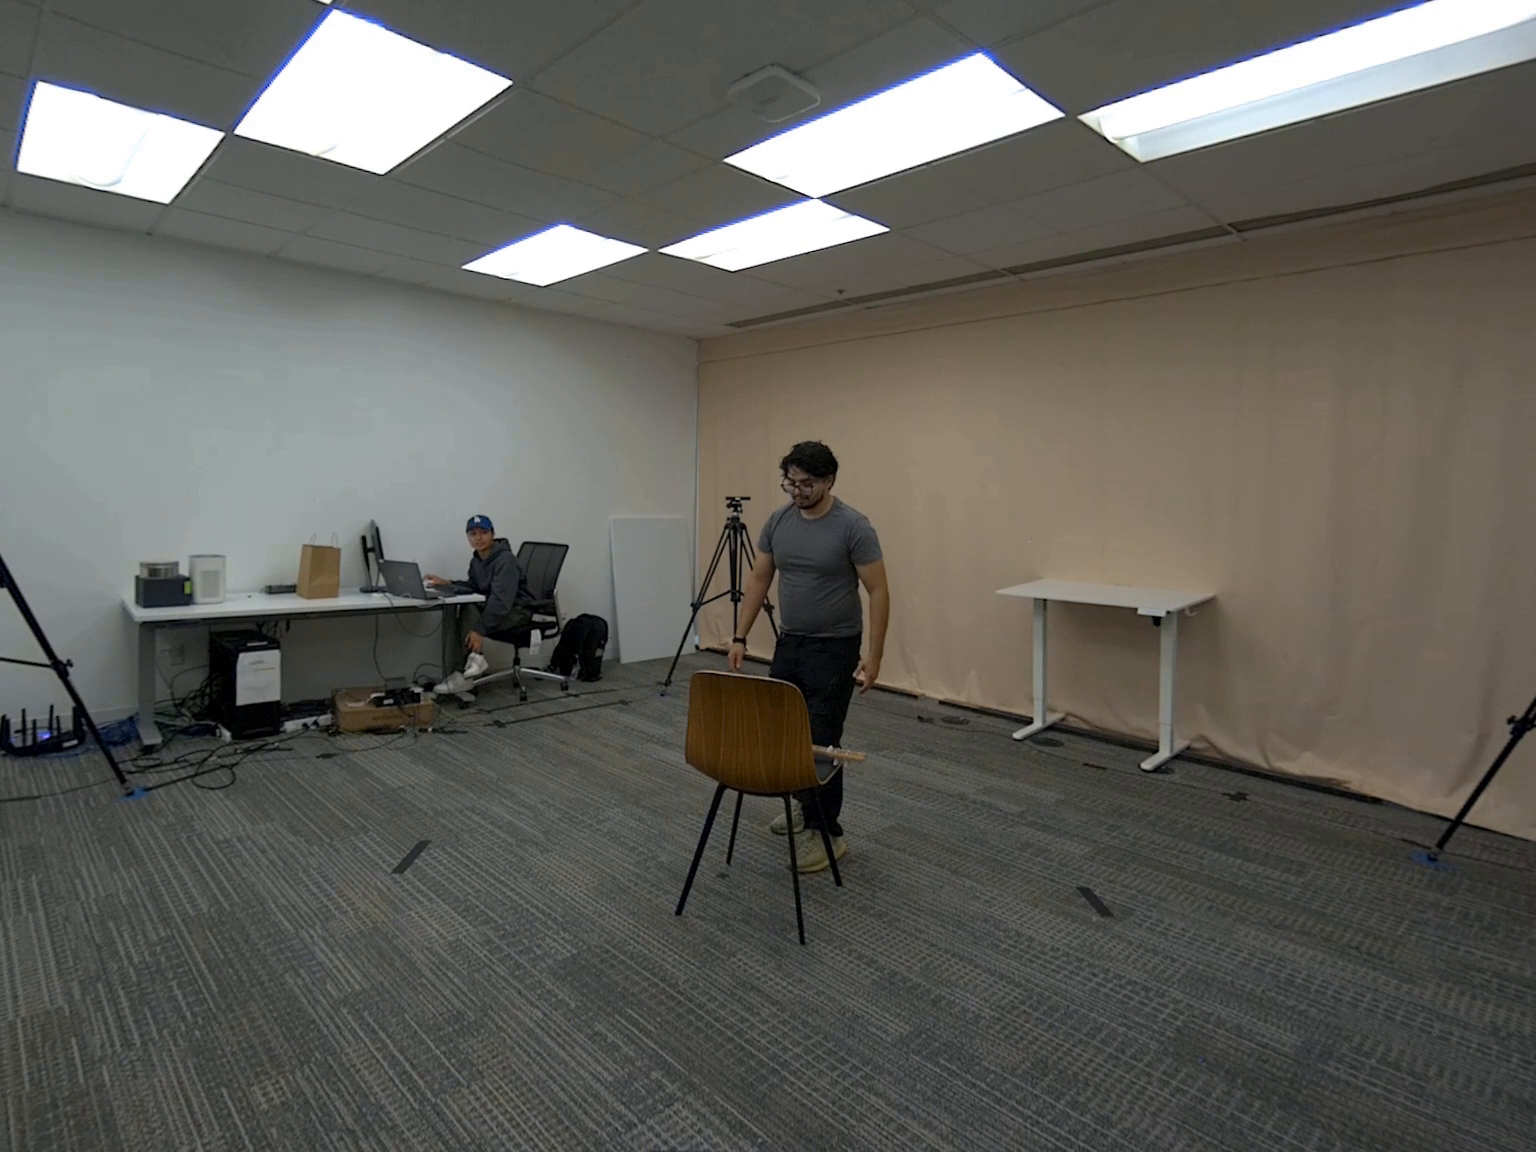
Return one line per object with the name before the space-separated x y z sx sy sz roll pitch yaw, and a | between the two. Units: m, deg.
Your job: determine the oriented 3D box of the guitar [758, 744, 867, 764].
guitar | 0.081 0.618 2.904 0.510 0.070 0.189 6 8 34
